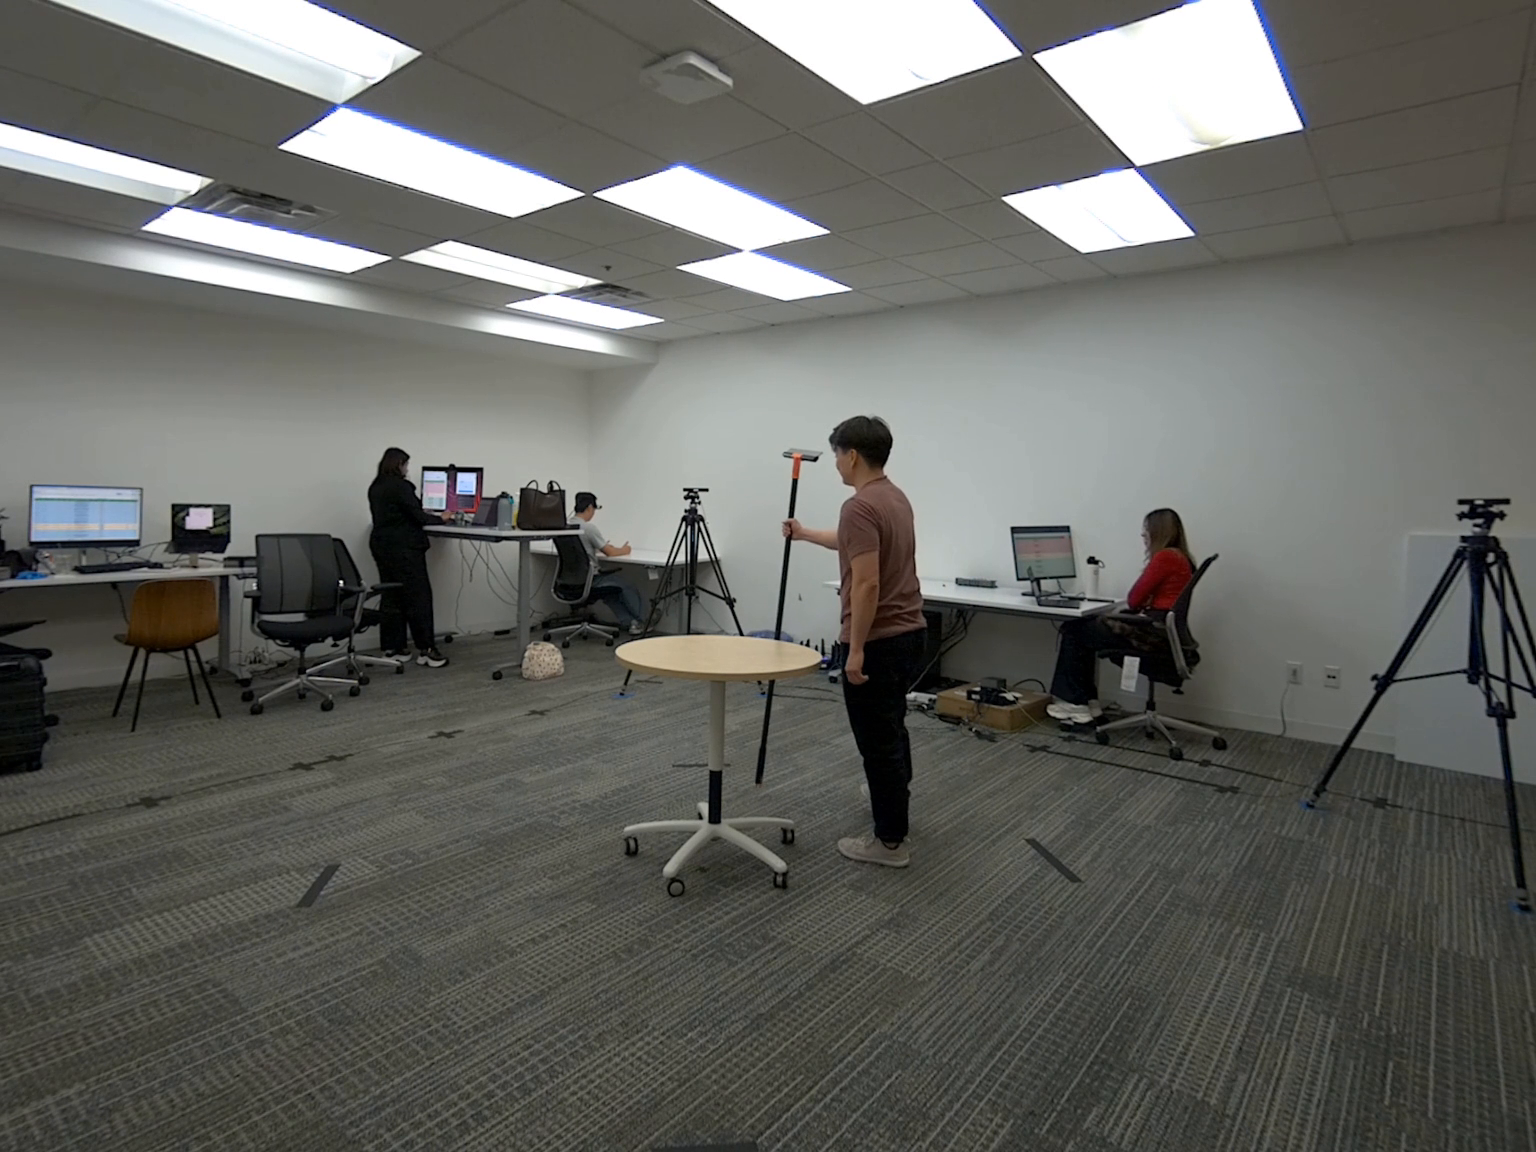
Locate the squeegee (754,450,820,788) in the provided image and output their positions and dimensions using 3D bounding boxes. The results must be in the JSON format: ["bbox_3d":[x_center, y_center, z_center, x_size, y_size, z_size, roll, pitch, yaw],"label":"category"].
[{"bbox_3d":[0.039,0.208,3.782,0.052,1.532,0.442,7,4,-8],"label":"squeegee"}]
